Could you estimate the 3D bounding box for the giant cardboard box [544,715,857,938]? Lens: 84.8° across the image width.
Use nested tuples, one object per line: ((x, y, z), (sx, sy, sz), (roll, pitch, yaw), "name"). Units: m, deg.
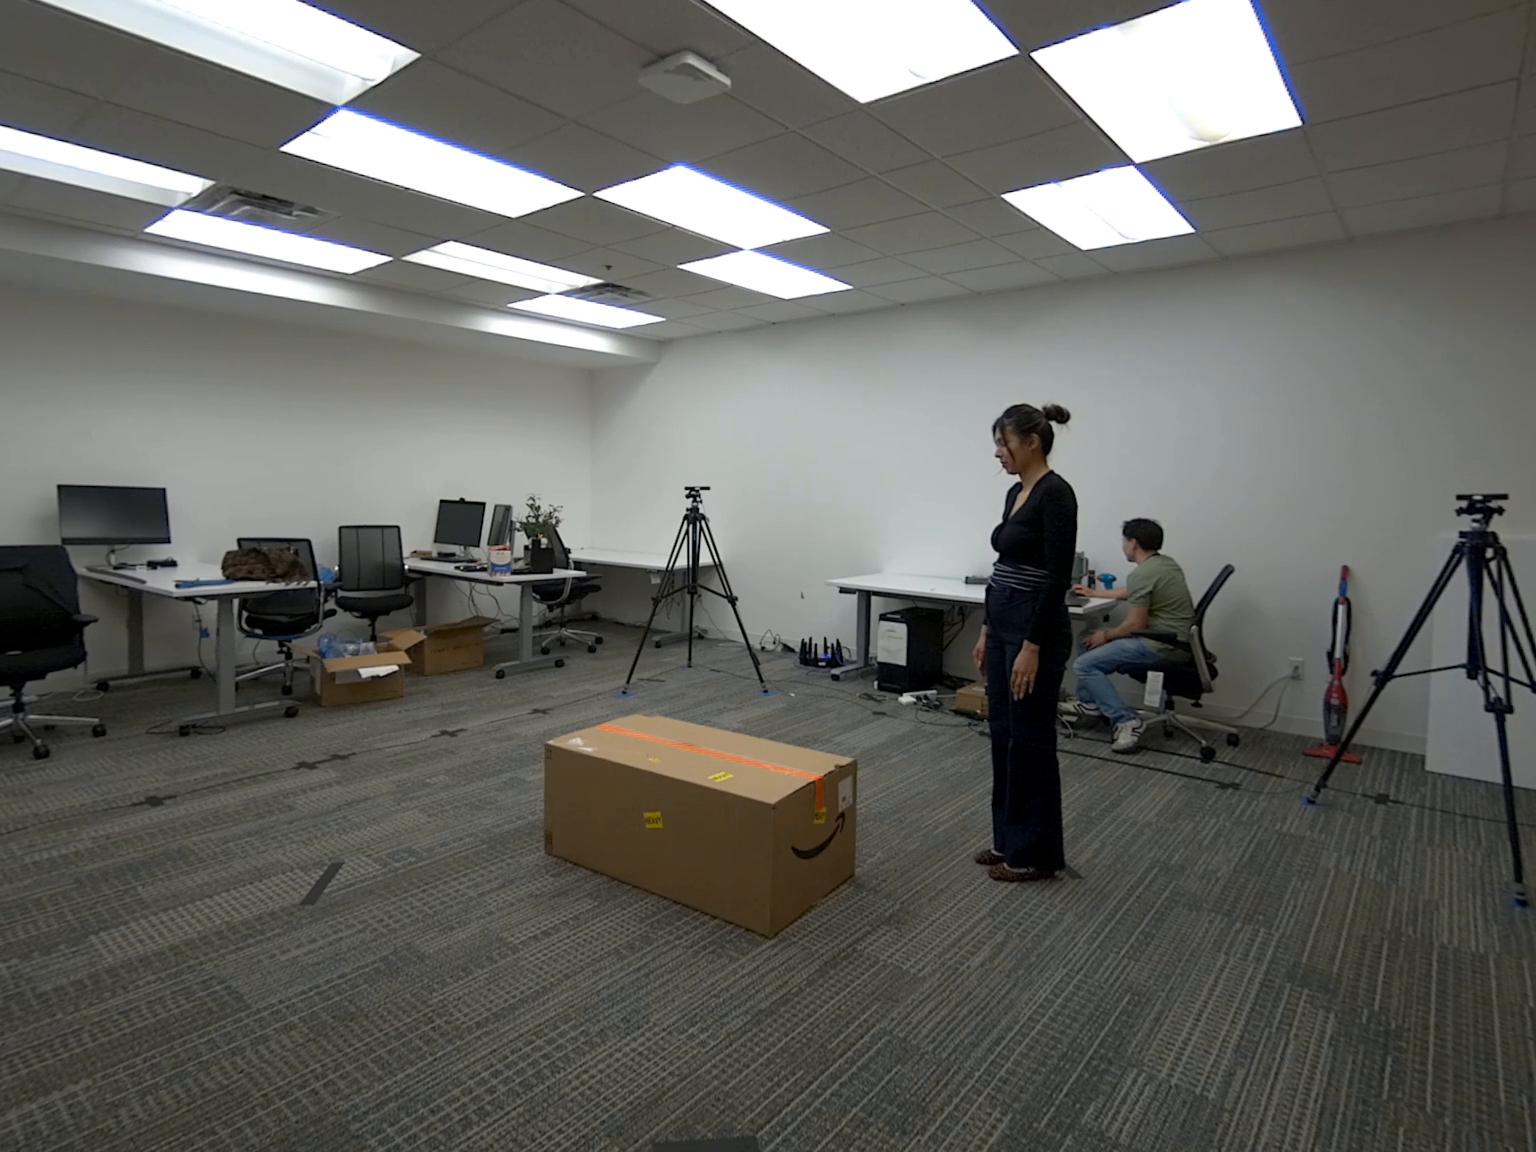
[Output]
((-0.272, 0.847, 3.137), (1.059, 0.425, 0.561), (4, 5, 35), "giant cardboard box")
